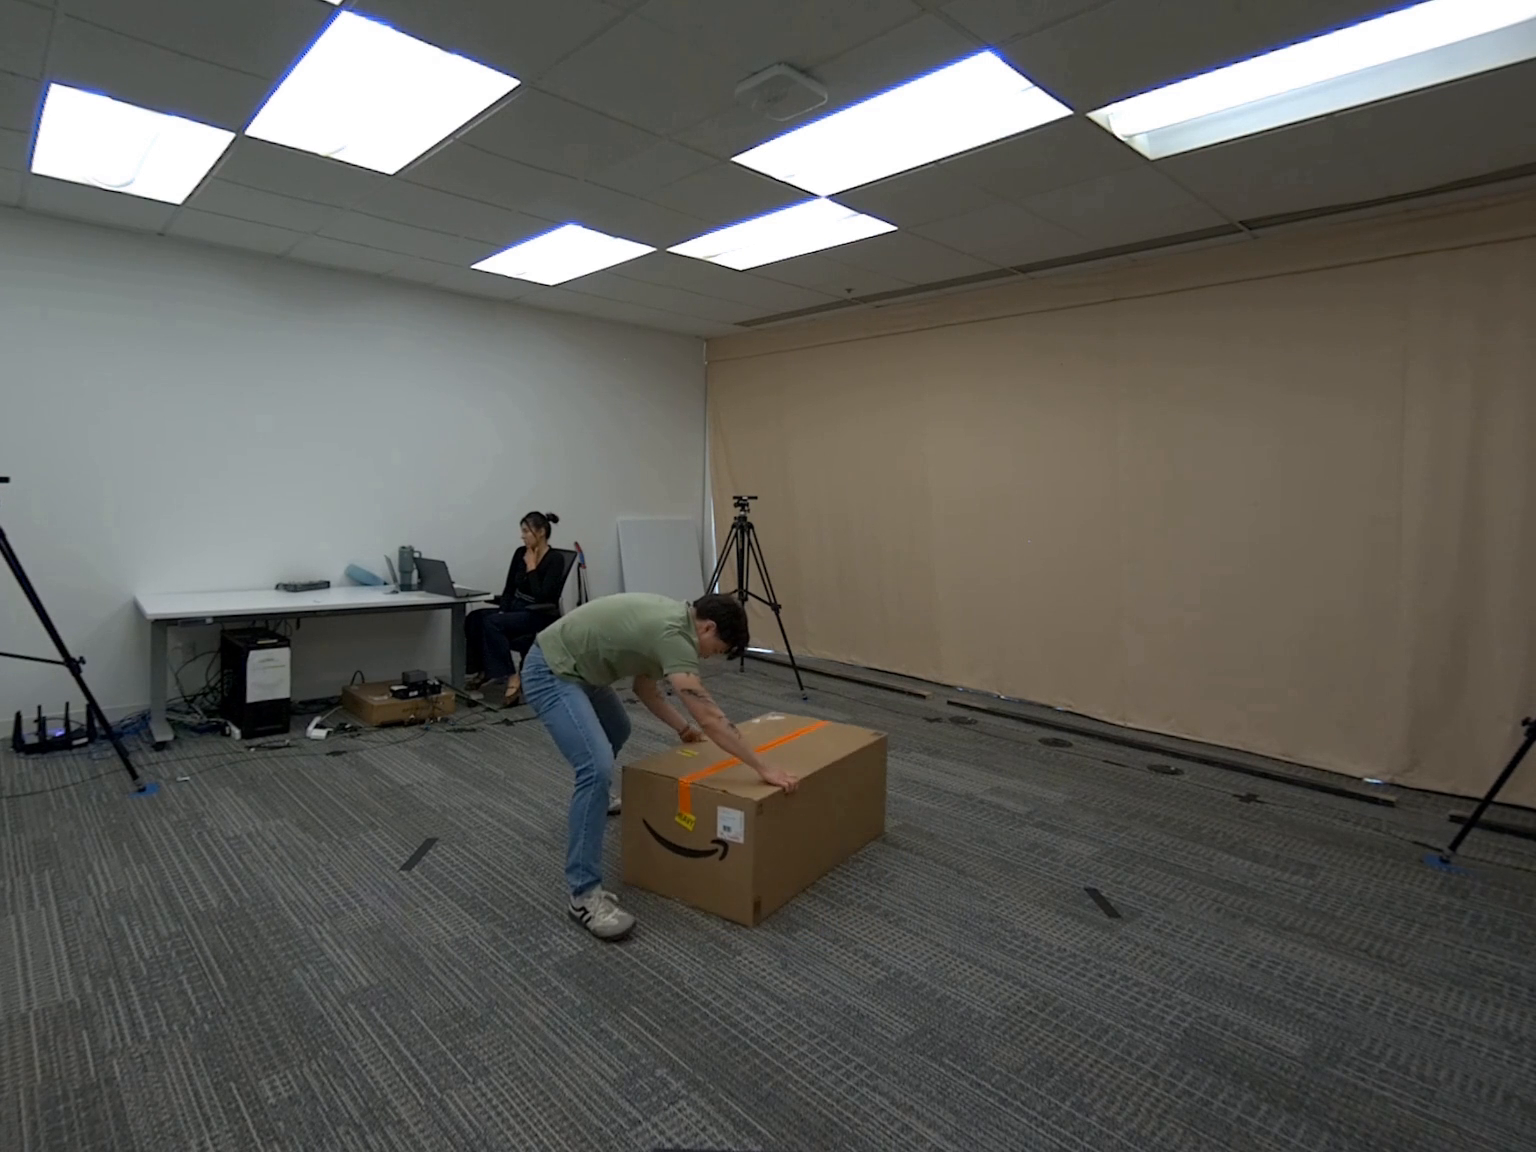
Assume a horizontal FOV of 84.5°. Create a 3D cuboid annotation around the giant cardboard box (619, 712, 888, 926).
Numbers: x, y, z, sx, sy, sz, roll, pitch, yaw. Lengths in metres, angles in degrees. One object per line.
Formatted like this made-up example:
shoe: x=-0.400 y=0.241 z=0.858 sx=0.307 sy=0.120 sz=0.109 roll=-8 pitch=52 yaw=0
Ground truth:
giant cardboard box: x=-0.025 y=0.878 z=3.277 sx=0.591 sy=0.425 sz=1.005 roll=4 pitch=5 yaw=32
